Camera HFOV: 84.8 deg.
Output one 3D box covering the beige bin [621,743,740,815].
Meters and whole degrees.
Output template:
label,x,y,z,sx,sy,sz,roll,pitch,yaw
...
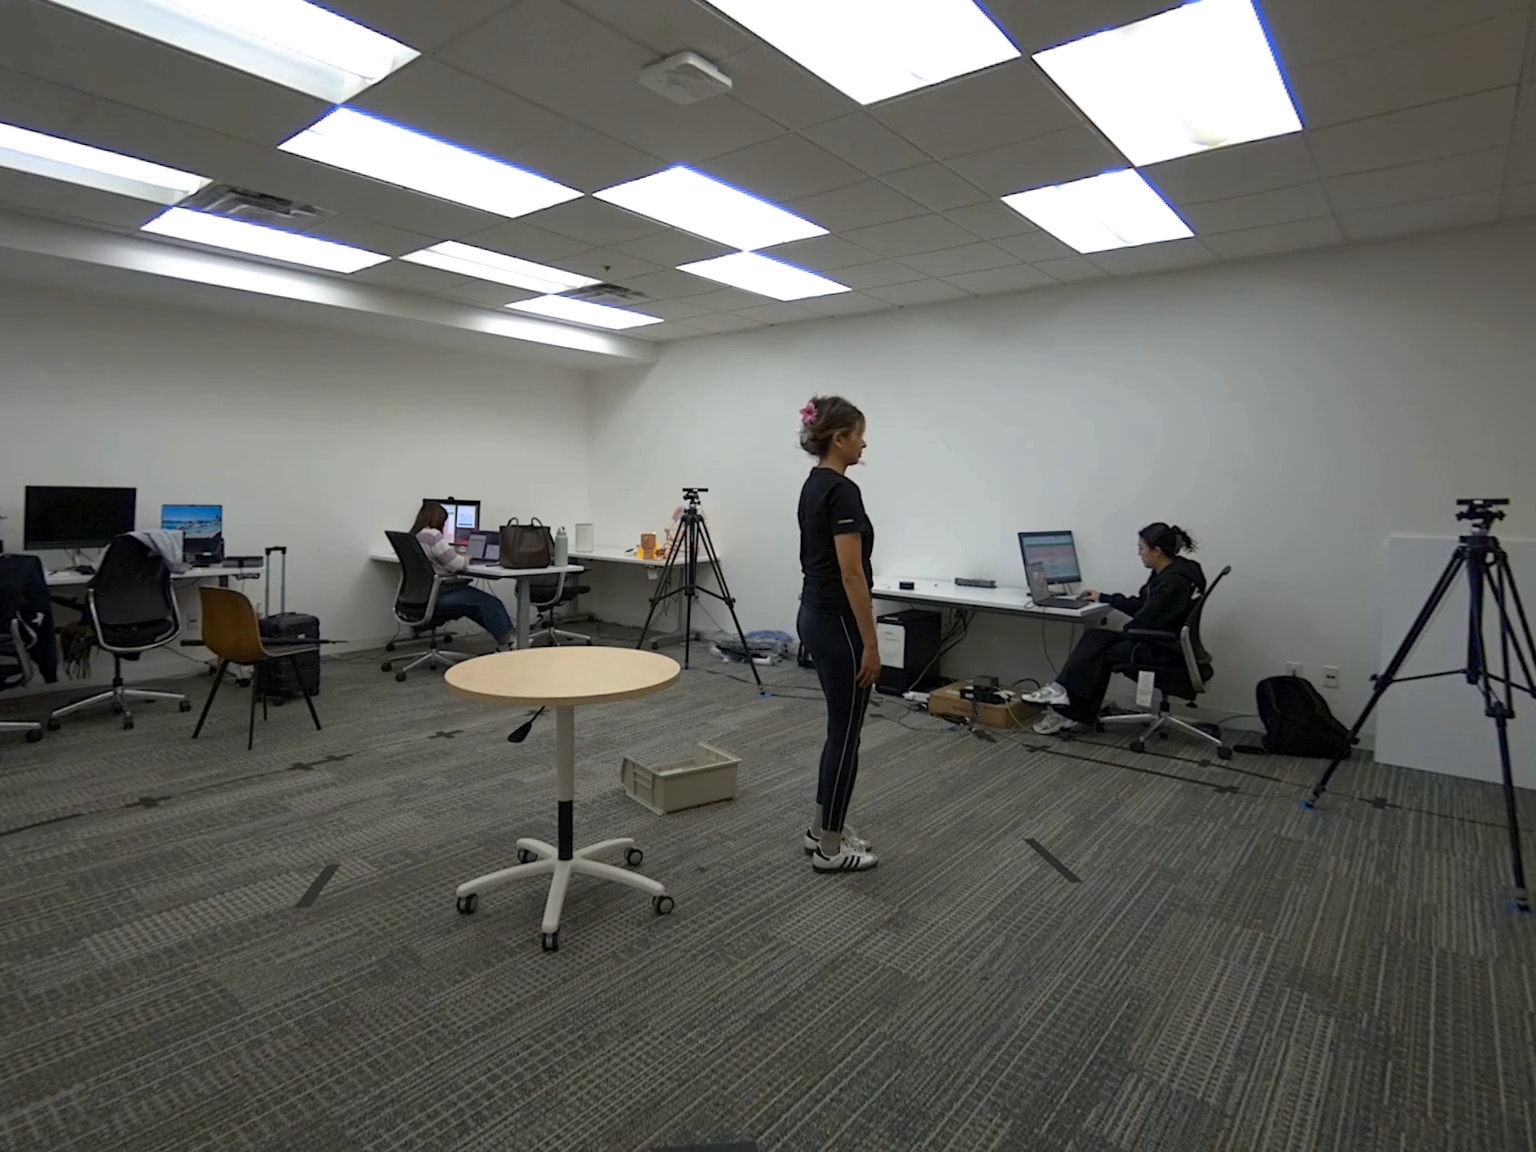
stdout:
label,x,y,z,sx,sy,sz,roll,pitch,yaw
beige bin,-0.412,0.905,3.866,0.410,0.188,0.390,-3,7,-36
